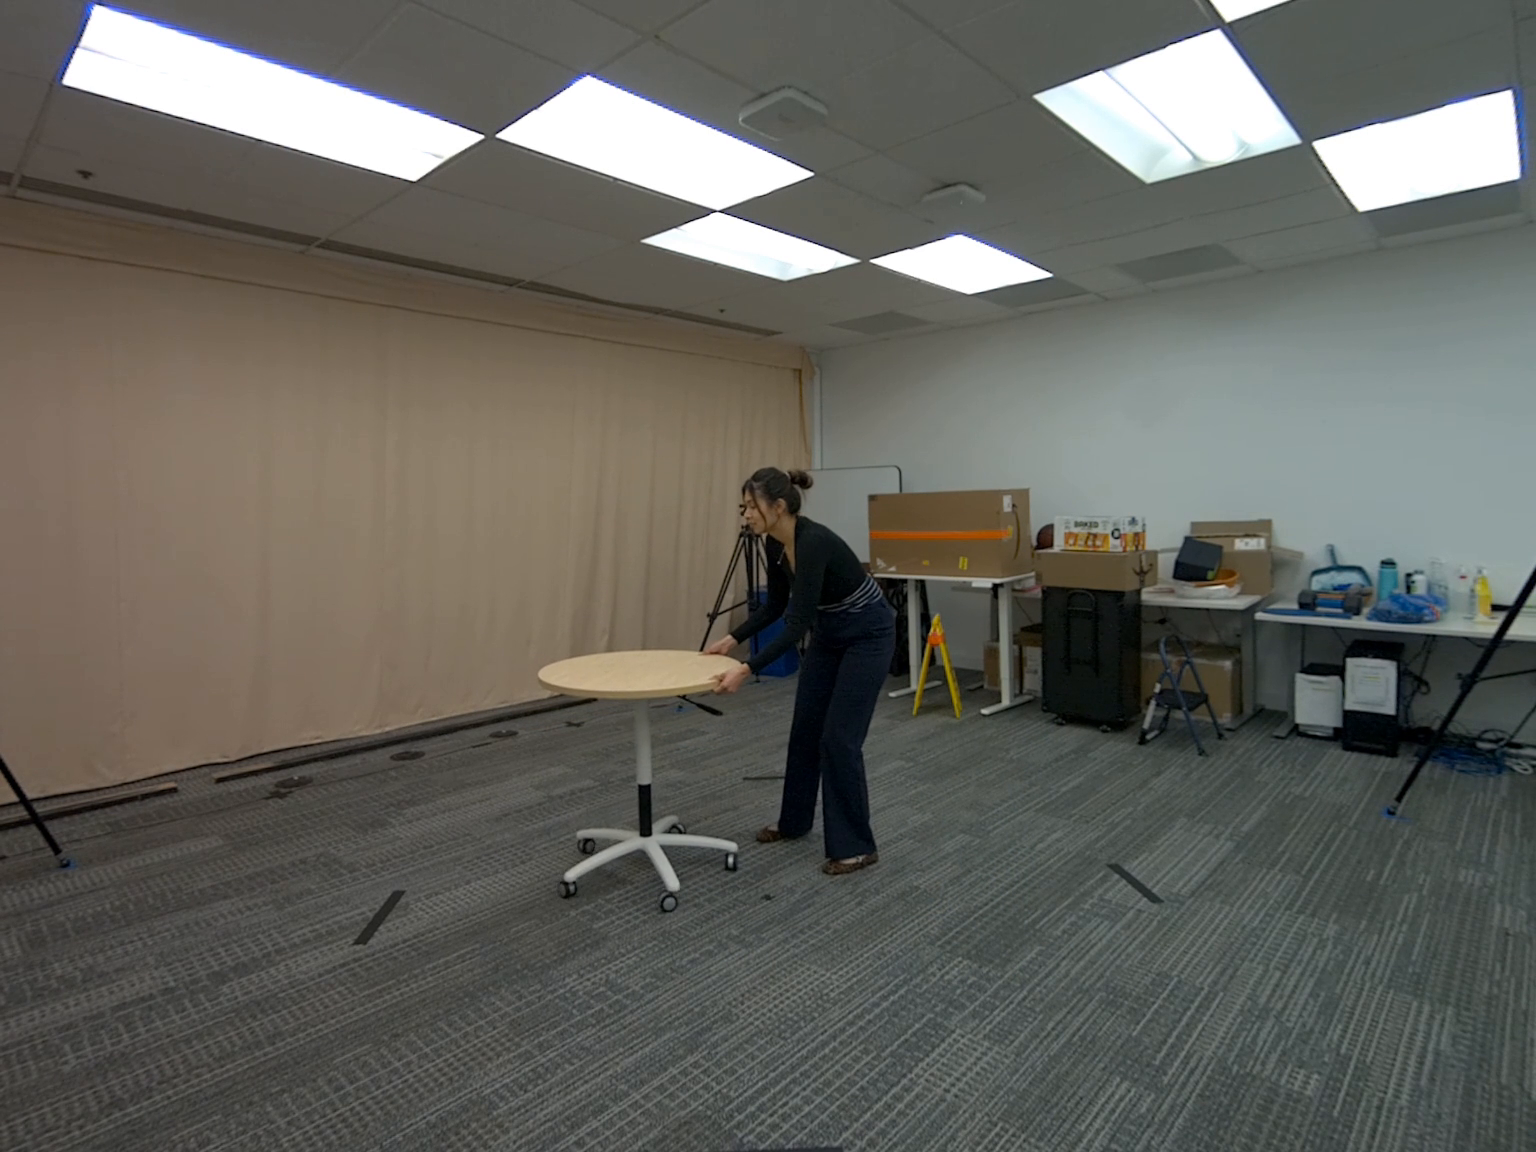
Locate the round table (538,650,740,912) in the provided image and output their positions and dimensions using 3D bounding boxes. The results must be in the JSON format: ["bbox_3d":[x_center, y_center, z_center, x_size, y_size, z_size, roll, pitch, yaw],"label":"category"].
[{"bbox_3d":[-0.459,0.743,3.193,0.763,0.792,0.767,-2,4,-2],"label":"round table"}]
